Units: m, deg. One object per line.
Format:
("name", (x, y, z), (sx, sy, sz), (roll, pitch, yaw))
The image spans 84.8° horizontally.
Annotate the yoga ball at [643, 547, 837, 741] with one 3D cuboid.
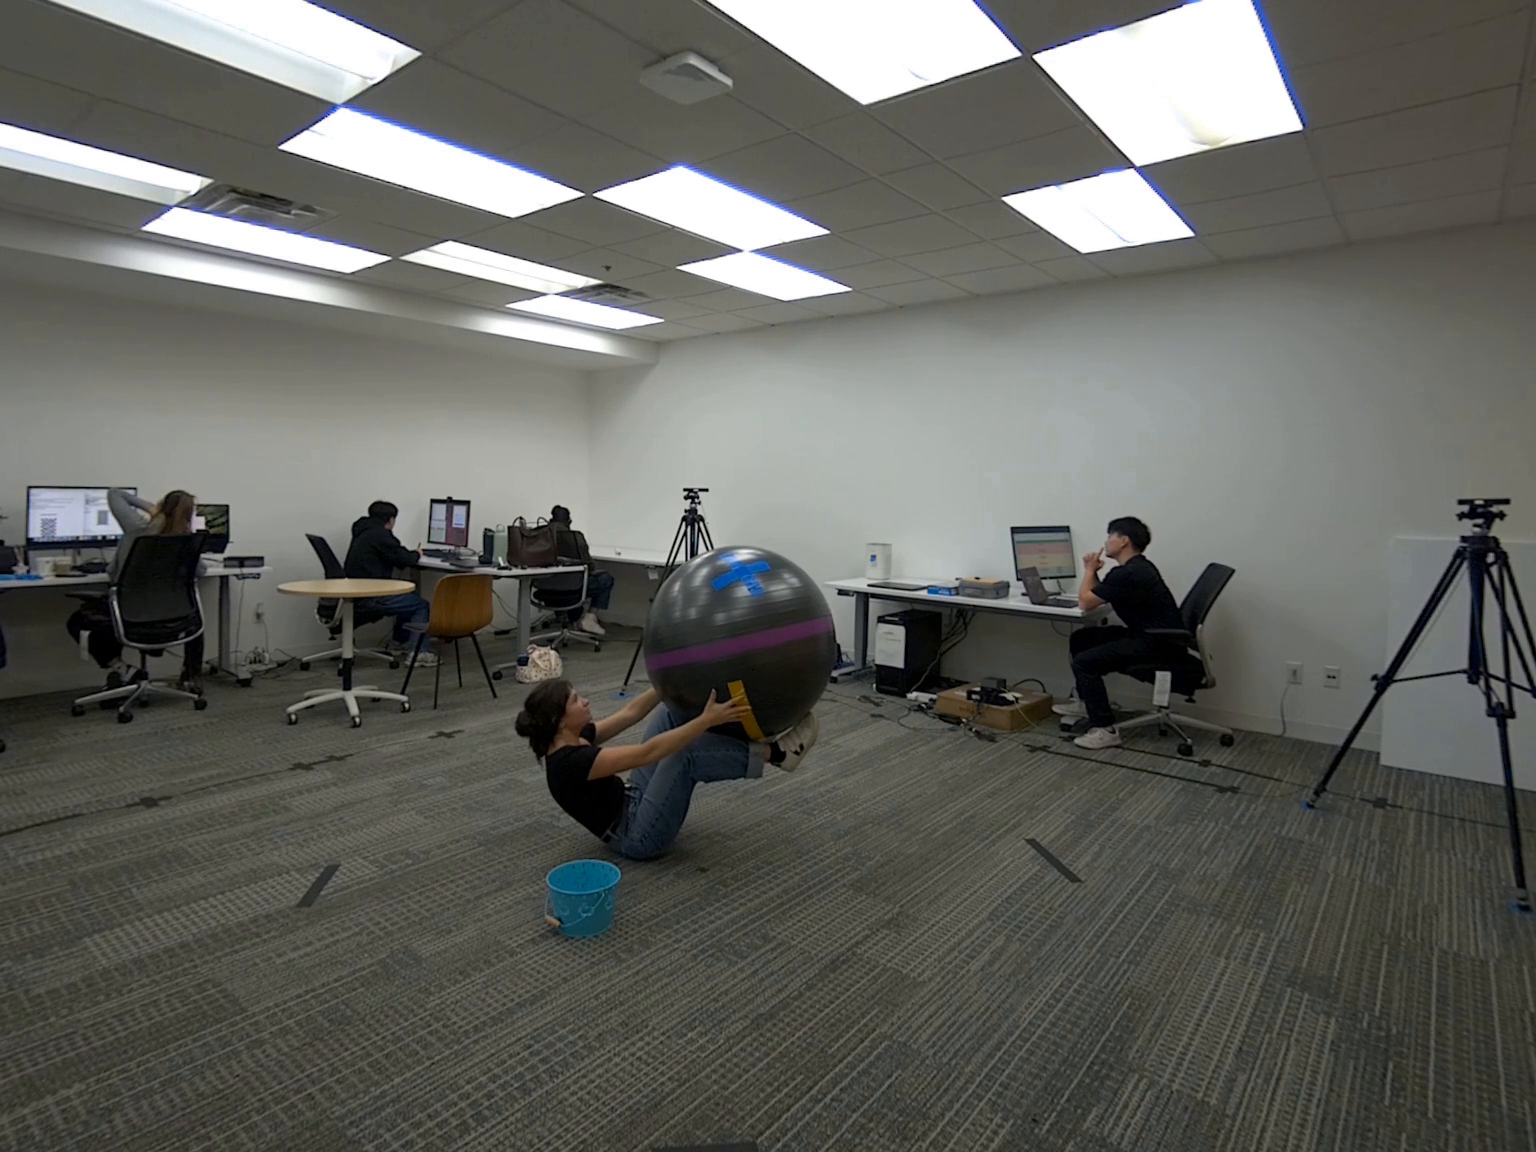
("yoga ball", (-0.127, 0.257, 3.351), (0.757, 0.756, 0.761), (1, 4, -2))
